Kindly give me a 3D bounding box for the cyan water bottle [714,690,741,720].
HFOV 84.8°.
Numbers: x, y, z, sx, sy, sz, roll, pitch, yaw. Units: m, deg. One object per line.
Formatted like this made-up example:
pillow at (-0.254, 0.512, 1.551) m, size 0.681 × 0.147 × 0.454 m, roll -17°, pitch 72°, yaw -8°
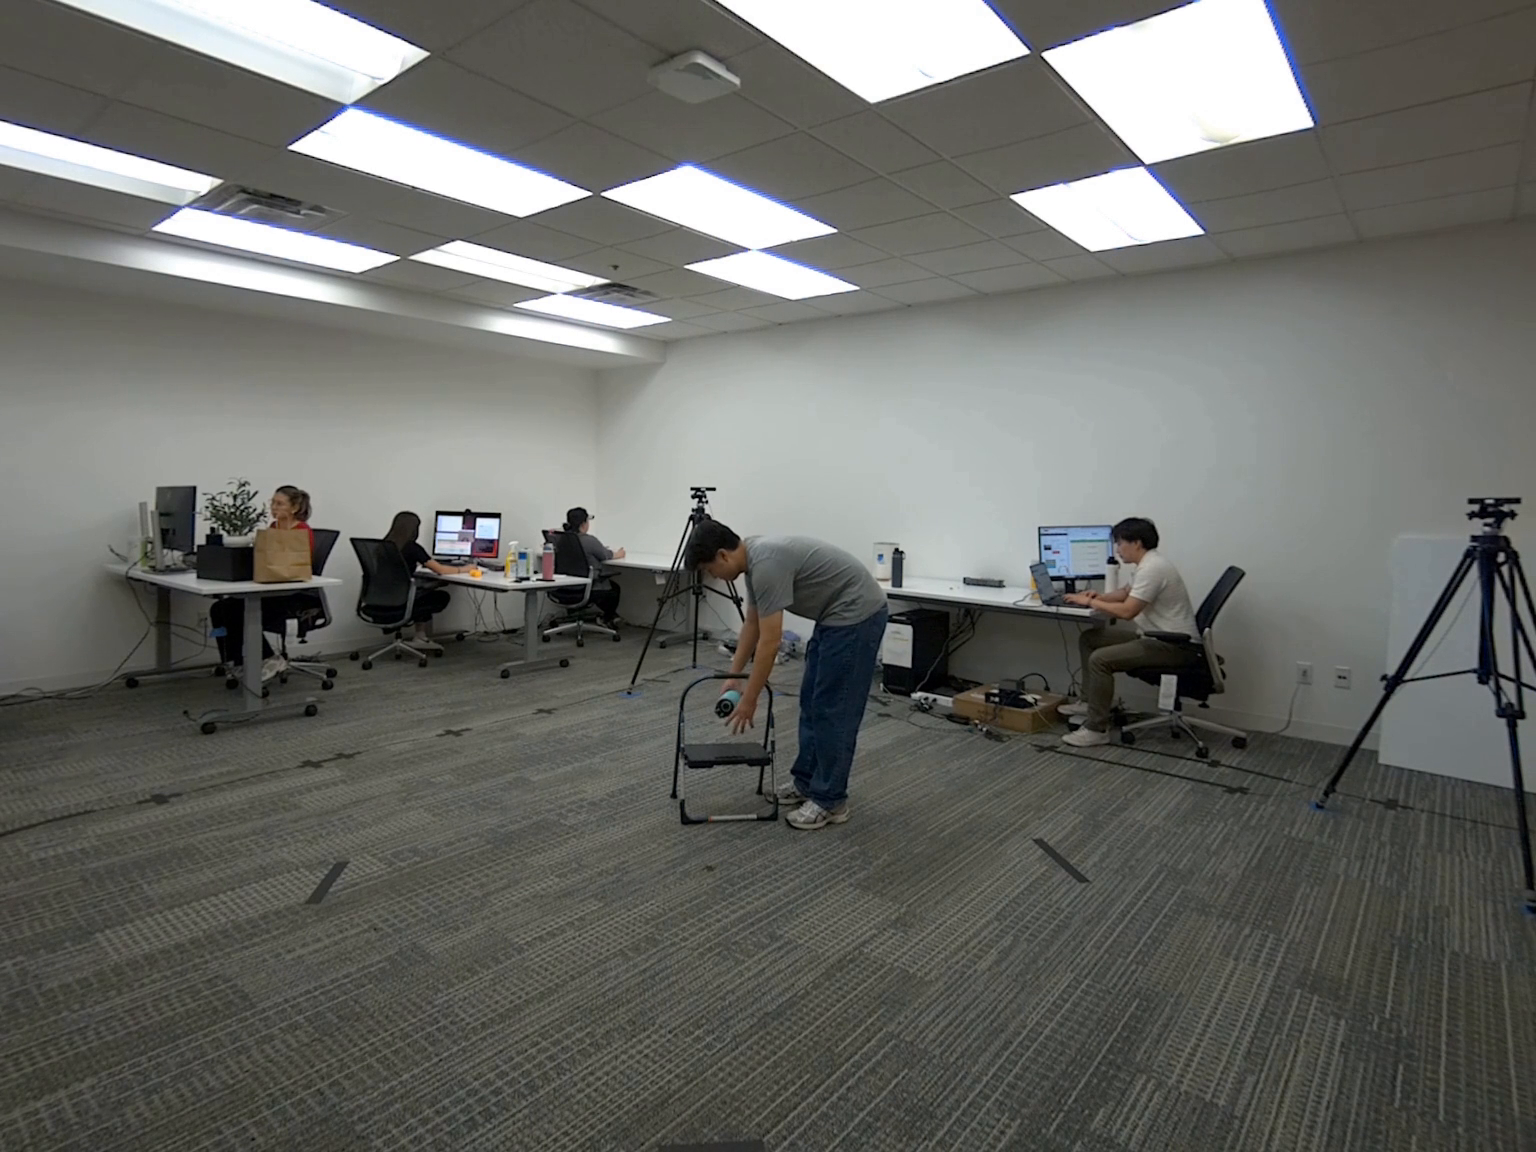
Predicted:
cyan water bottle at (-0.173, 0.536, 3.763) m, size 0.093 × 0.092 × 0.282 m, roll 2°, pitch 6°, yaw 8°
